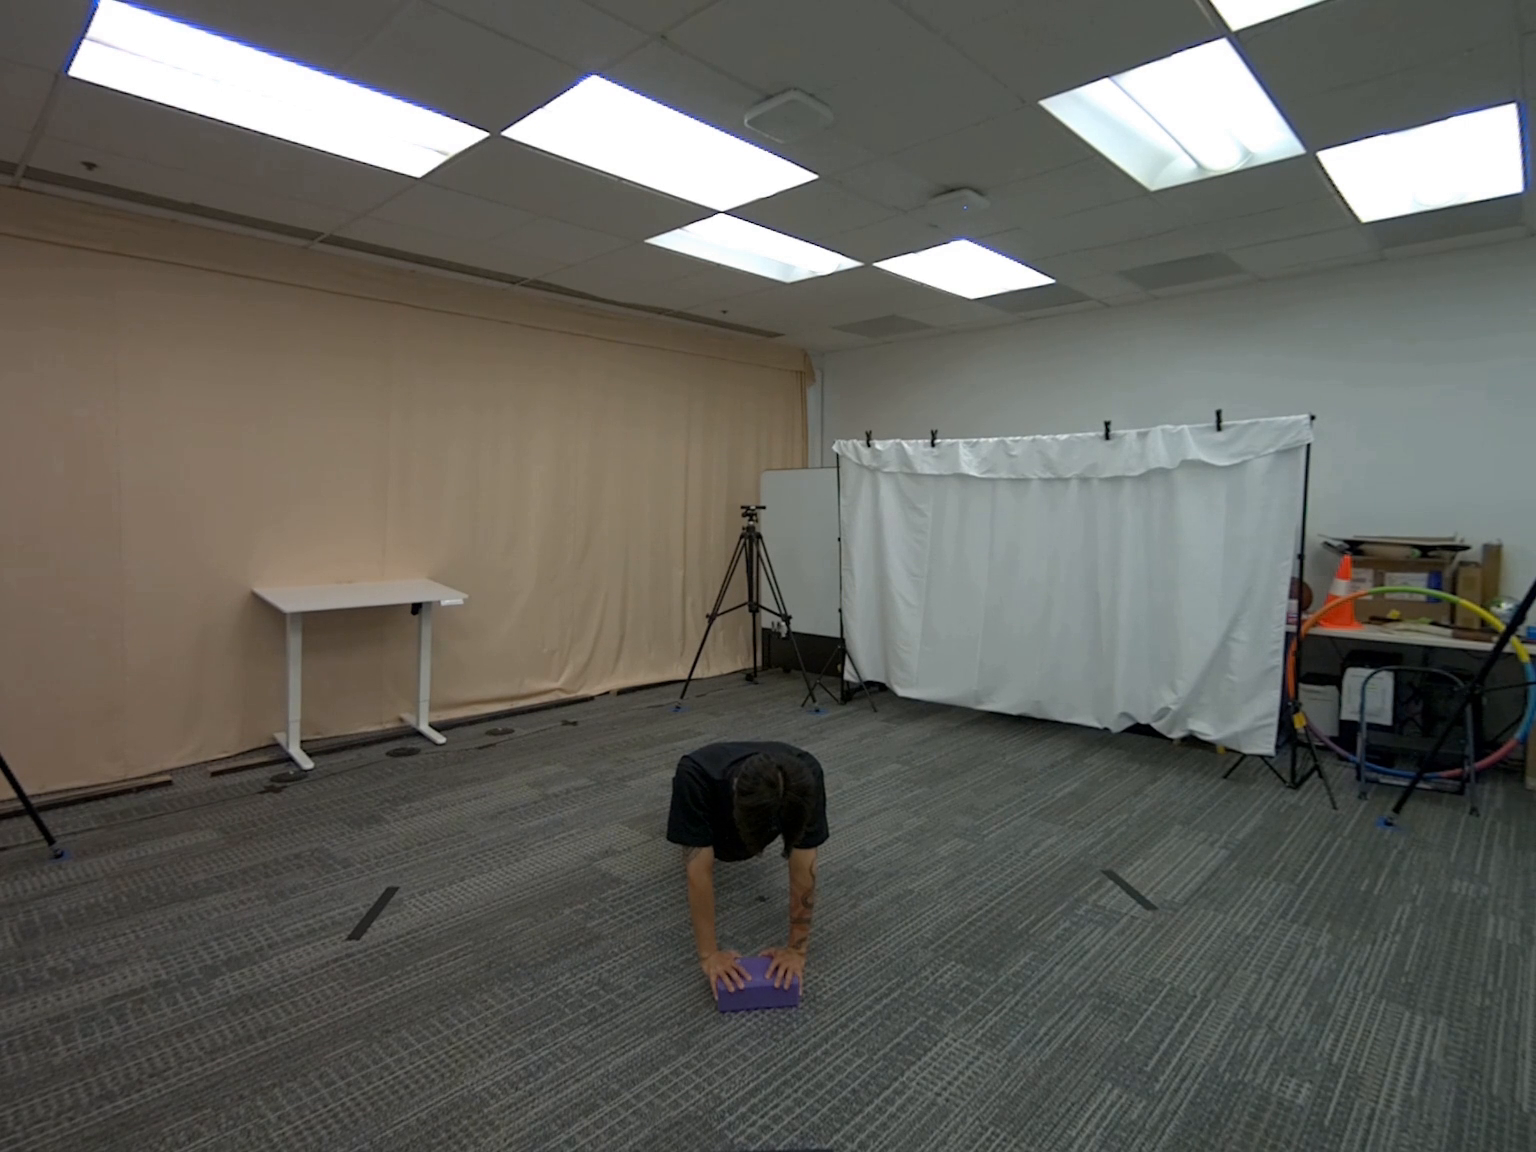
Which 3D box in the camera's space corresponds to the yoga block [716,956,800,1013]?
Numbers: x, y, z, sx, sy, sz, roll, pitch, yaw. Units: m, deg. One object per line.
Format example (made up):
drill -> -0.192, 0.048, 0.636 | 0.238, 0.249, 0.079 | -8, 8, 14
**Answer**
yoga block -> -0.036, 1.153, 2.394 | 0.228, 0.076, 0.150 | 0, 4, -7
